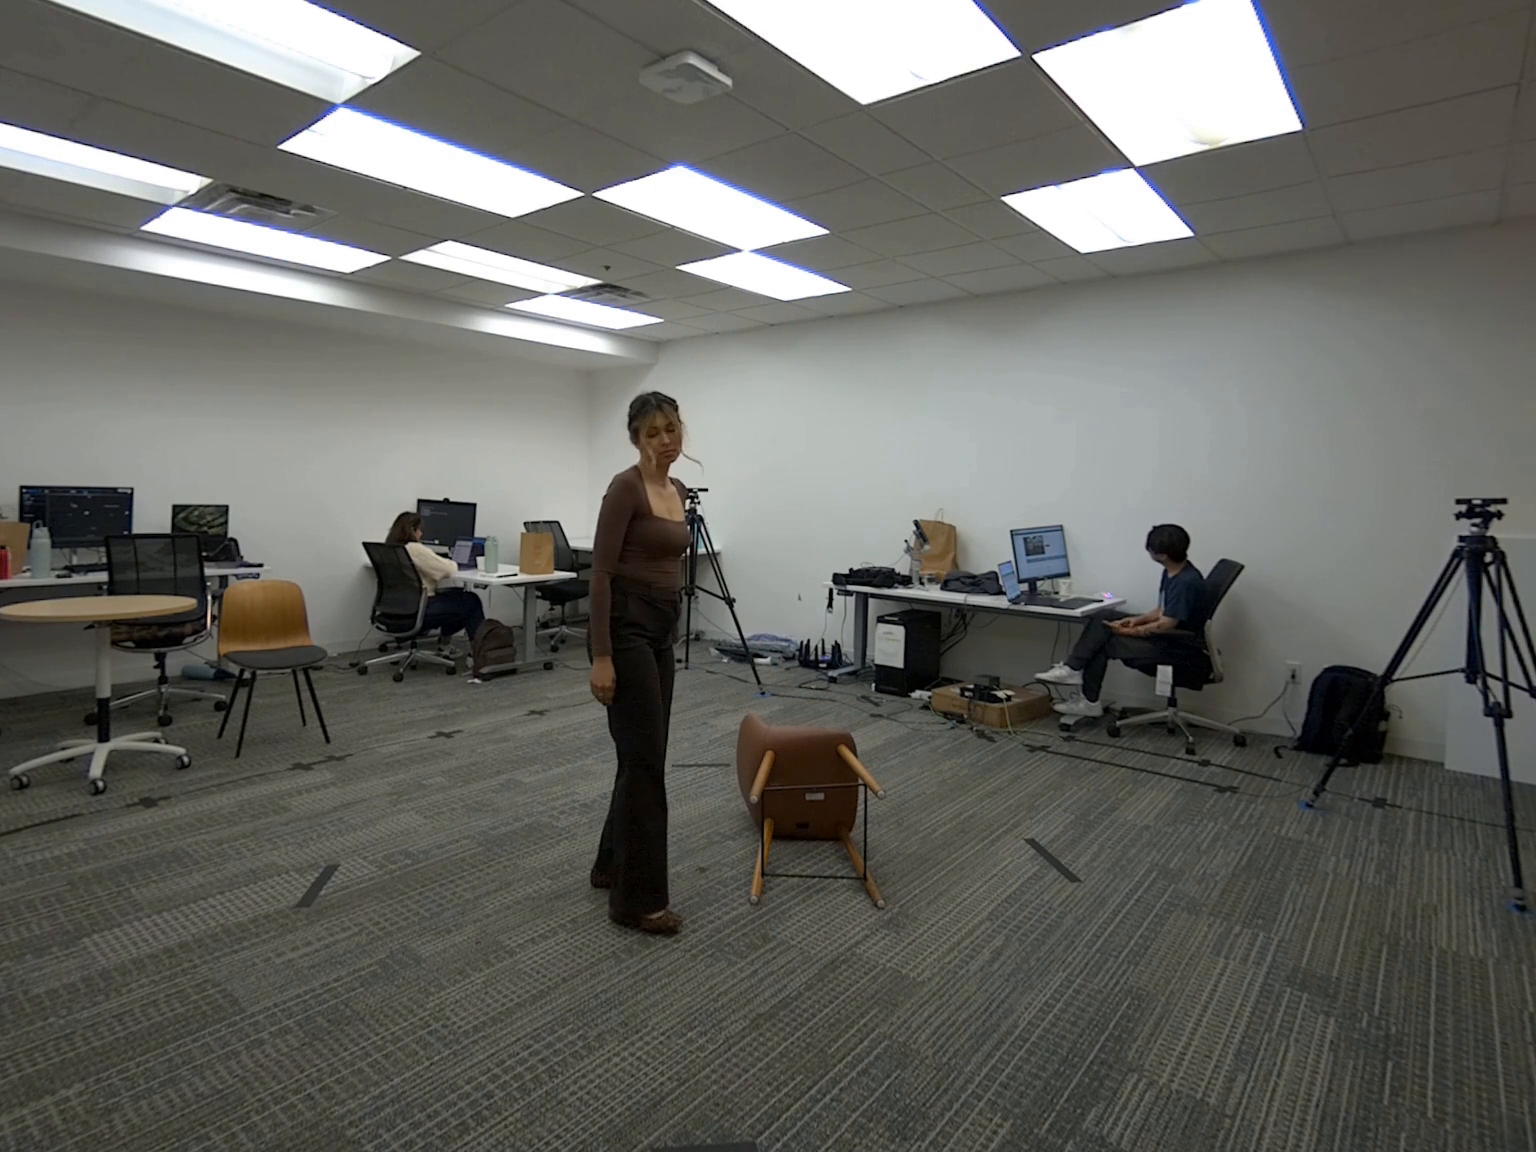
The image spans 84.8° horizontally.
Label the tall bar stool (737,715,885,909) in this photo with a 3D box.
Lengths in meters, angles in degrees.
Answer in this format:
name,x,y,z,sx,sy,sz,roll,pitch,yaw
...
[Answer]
name,x,y,z,sx,sy,sz,roll,pitch,yaw
tall bar stool,0.128,0.848,3.262,0.466,0.454,0.898,-1,7,-4
